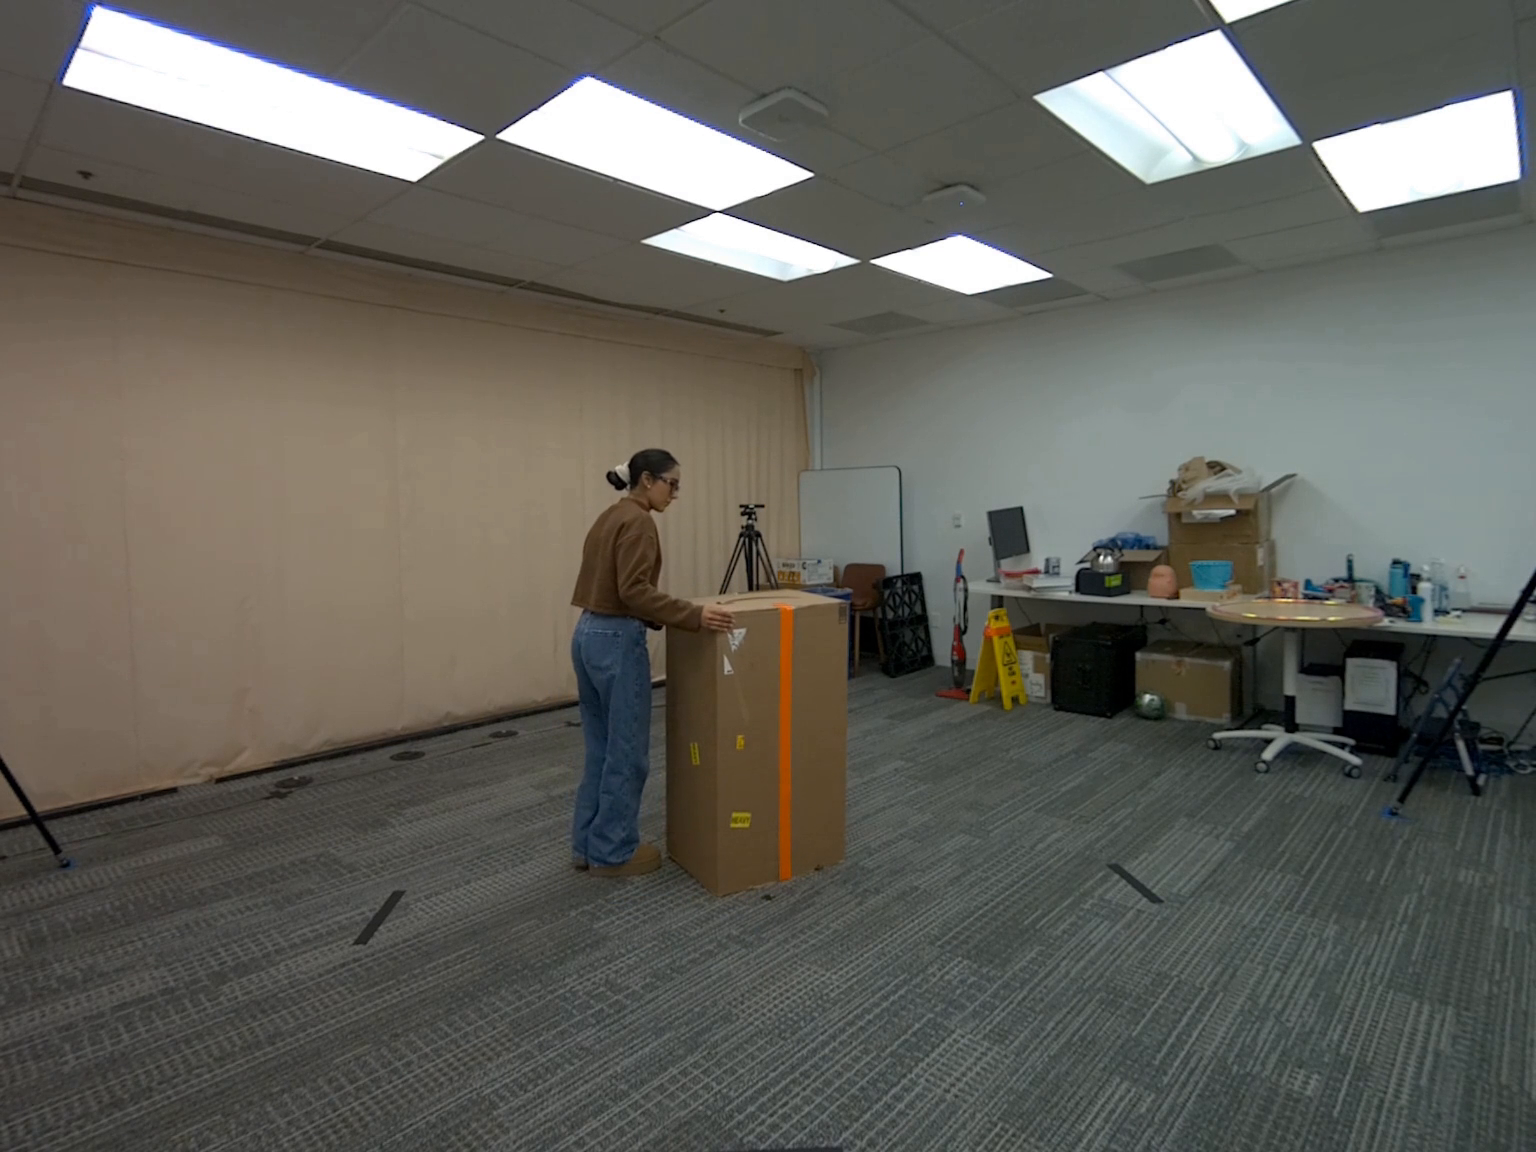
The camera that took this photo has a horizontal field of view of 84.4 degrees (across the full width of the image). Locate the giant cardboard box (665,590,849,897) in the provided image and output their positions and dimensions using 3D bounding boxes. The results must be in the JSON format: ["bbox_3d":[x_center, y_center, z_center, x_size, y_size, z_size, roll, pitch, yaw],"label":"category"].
[{"bbox_3d":[-0.041,0.605,3.271,0.562,1.023,0.439,-3,5,-31],"label":"giant cardboard box"}]
